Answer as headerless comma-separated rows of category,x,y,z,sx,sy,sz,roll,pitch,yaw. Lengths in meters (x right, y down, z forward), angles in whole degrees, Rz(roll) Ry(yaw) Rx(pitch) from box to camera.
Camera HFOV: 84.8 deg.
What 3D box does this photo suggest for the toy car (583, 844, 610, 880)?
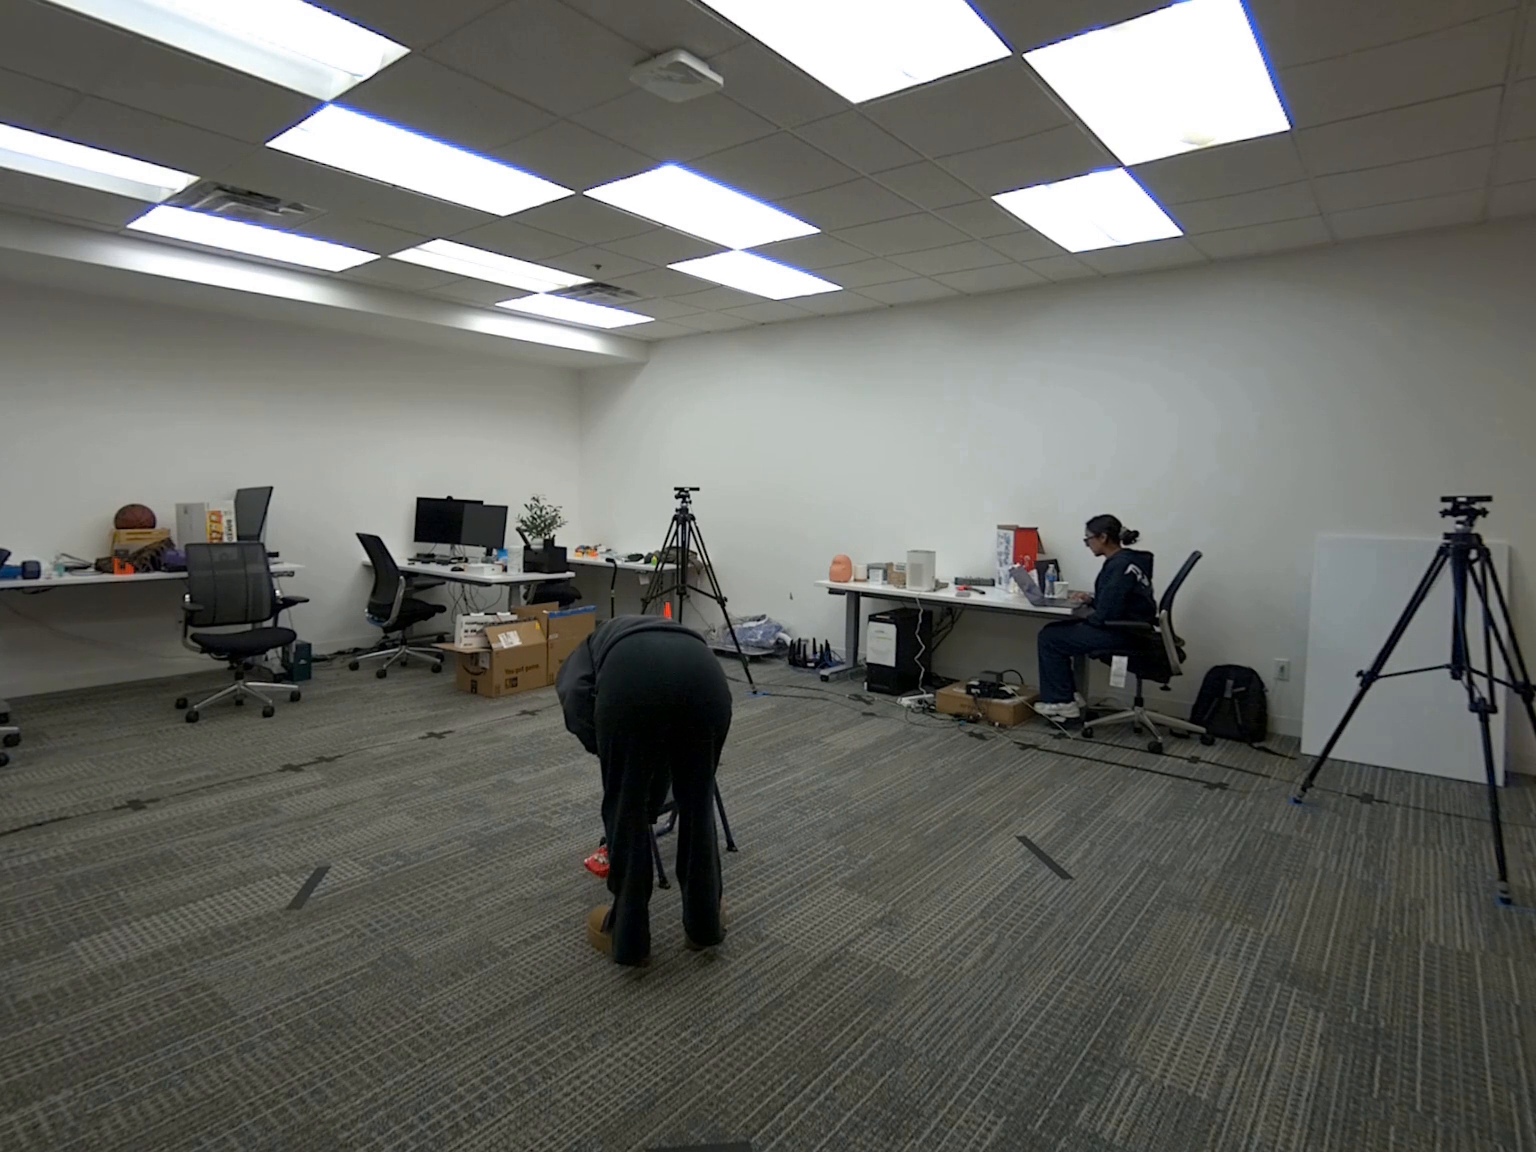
toy car,-0.513,0.941,2.830,0.135,0.083,0.245,15,3,37
